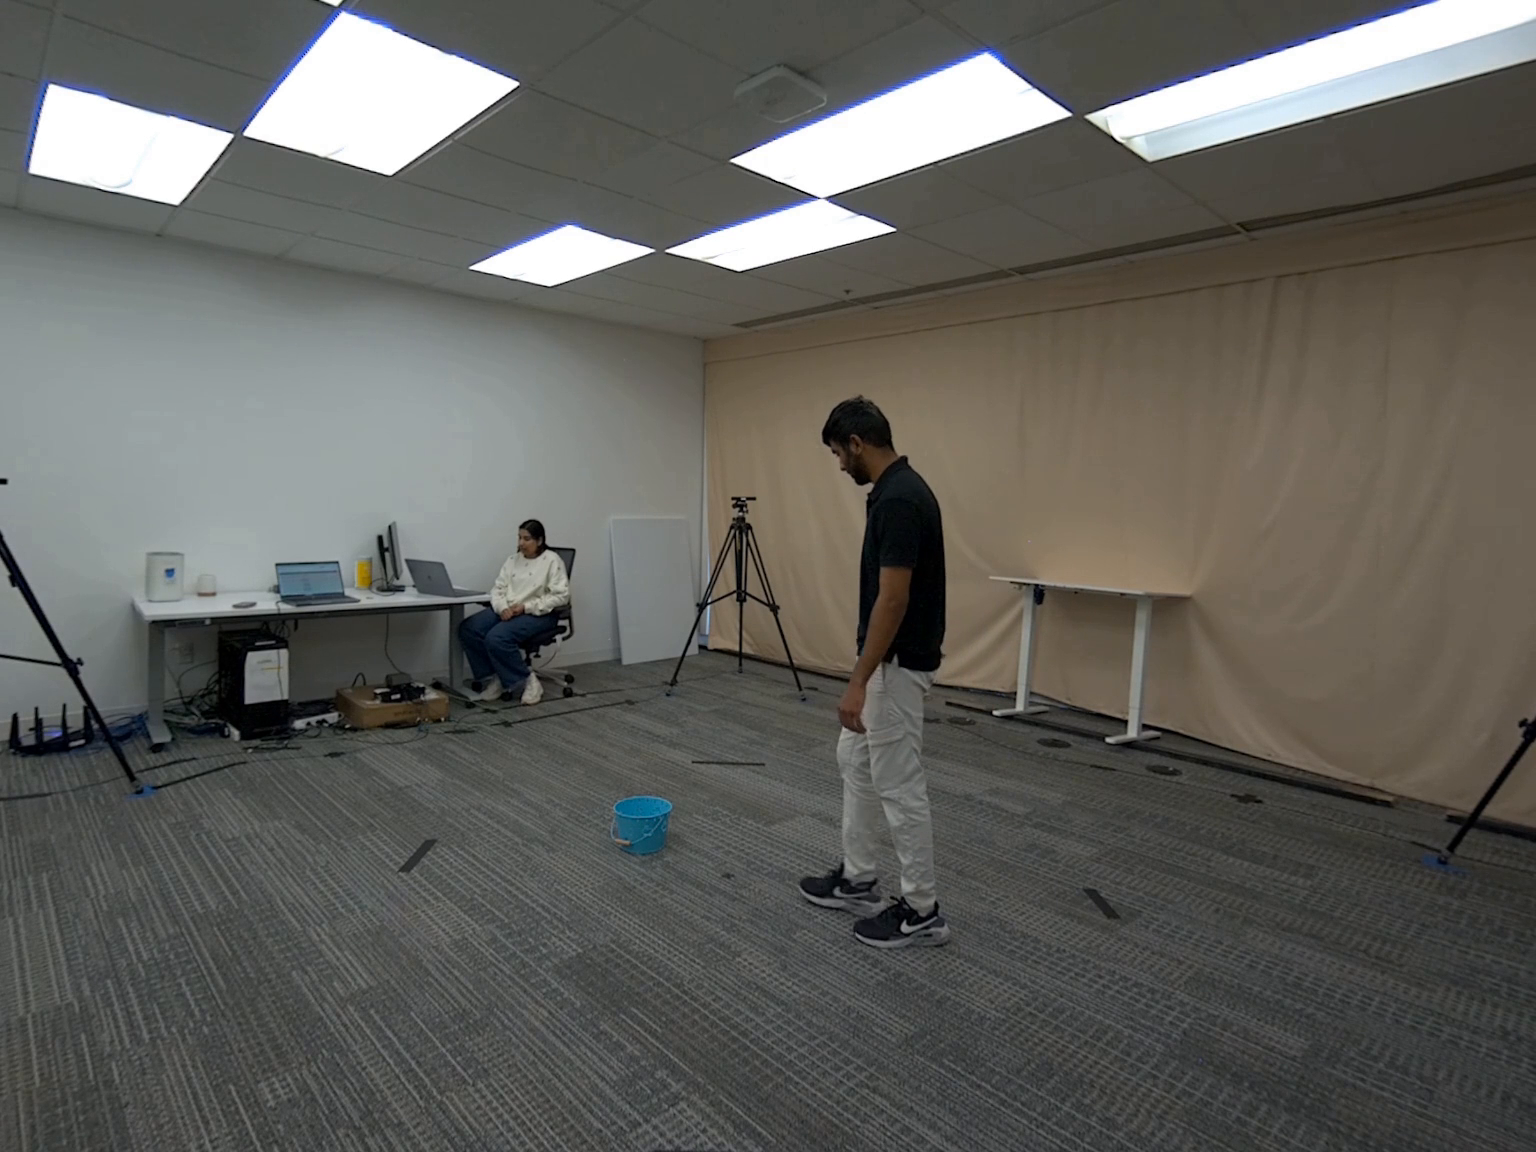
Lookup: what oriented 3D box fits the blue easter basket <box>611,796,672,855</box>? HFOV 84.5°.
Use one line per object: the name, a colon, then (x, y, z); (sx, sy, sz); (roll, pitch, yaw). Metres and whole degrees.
blue easter basket: (-0.517, 0.996, 3.368); (0.243, 0.155, 0.244); (2, 4, -1)
